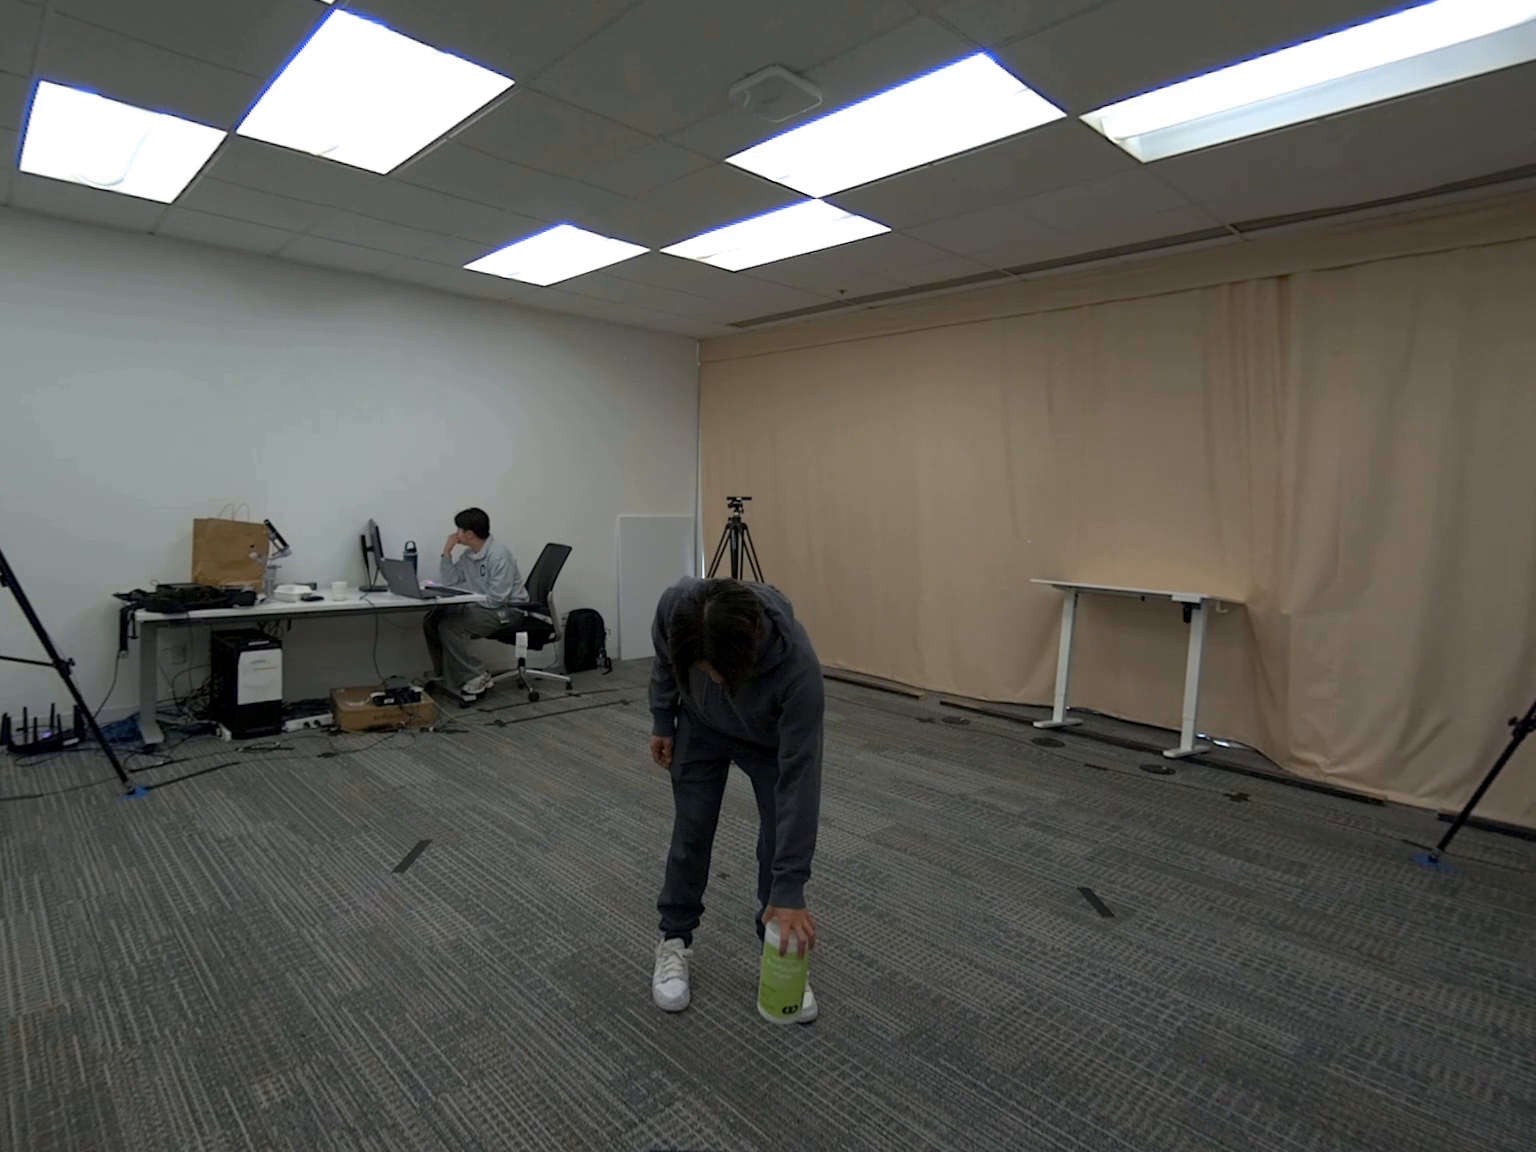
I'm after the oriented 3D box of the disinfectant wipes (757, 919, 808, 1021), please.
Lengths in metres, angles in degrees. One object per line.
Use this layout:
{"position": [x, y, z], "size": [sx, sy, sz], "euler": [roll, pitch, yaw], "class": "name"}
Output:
{"position": [0.025, 0.941, 2.007], "size": [0.117, 0.216, 0.118], "euler": [4, 8, -2], "class": "disinfectant wipes"}
